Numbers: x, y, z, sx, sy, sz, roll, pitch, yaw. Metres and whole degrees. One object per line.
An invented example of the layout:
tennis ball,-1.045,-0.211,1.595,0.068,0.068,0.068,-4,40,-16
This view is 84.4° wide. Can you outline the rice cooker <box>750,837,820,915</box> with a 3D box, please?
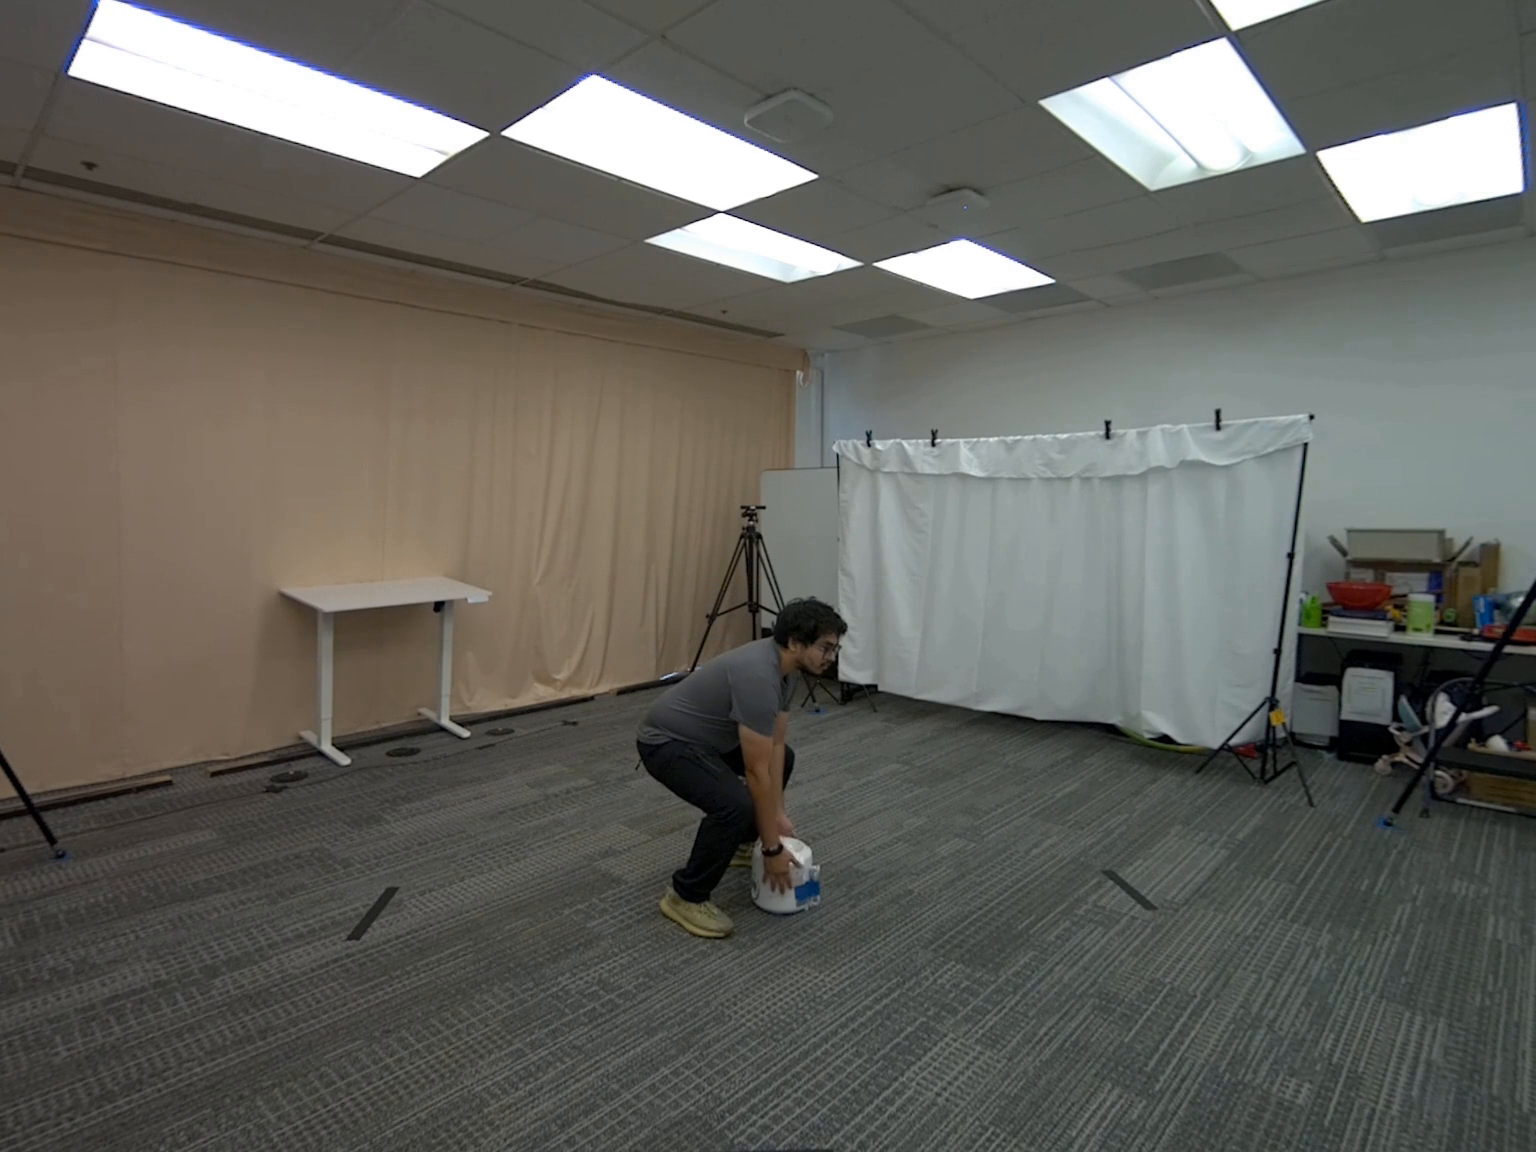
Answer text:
rice cooker,0.055,1.025,2.938,0.212,0.232,0.226,-1,3,-24
